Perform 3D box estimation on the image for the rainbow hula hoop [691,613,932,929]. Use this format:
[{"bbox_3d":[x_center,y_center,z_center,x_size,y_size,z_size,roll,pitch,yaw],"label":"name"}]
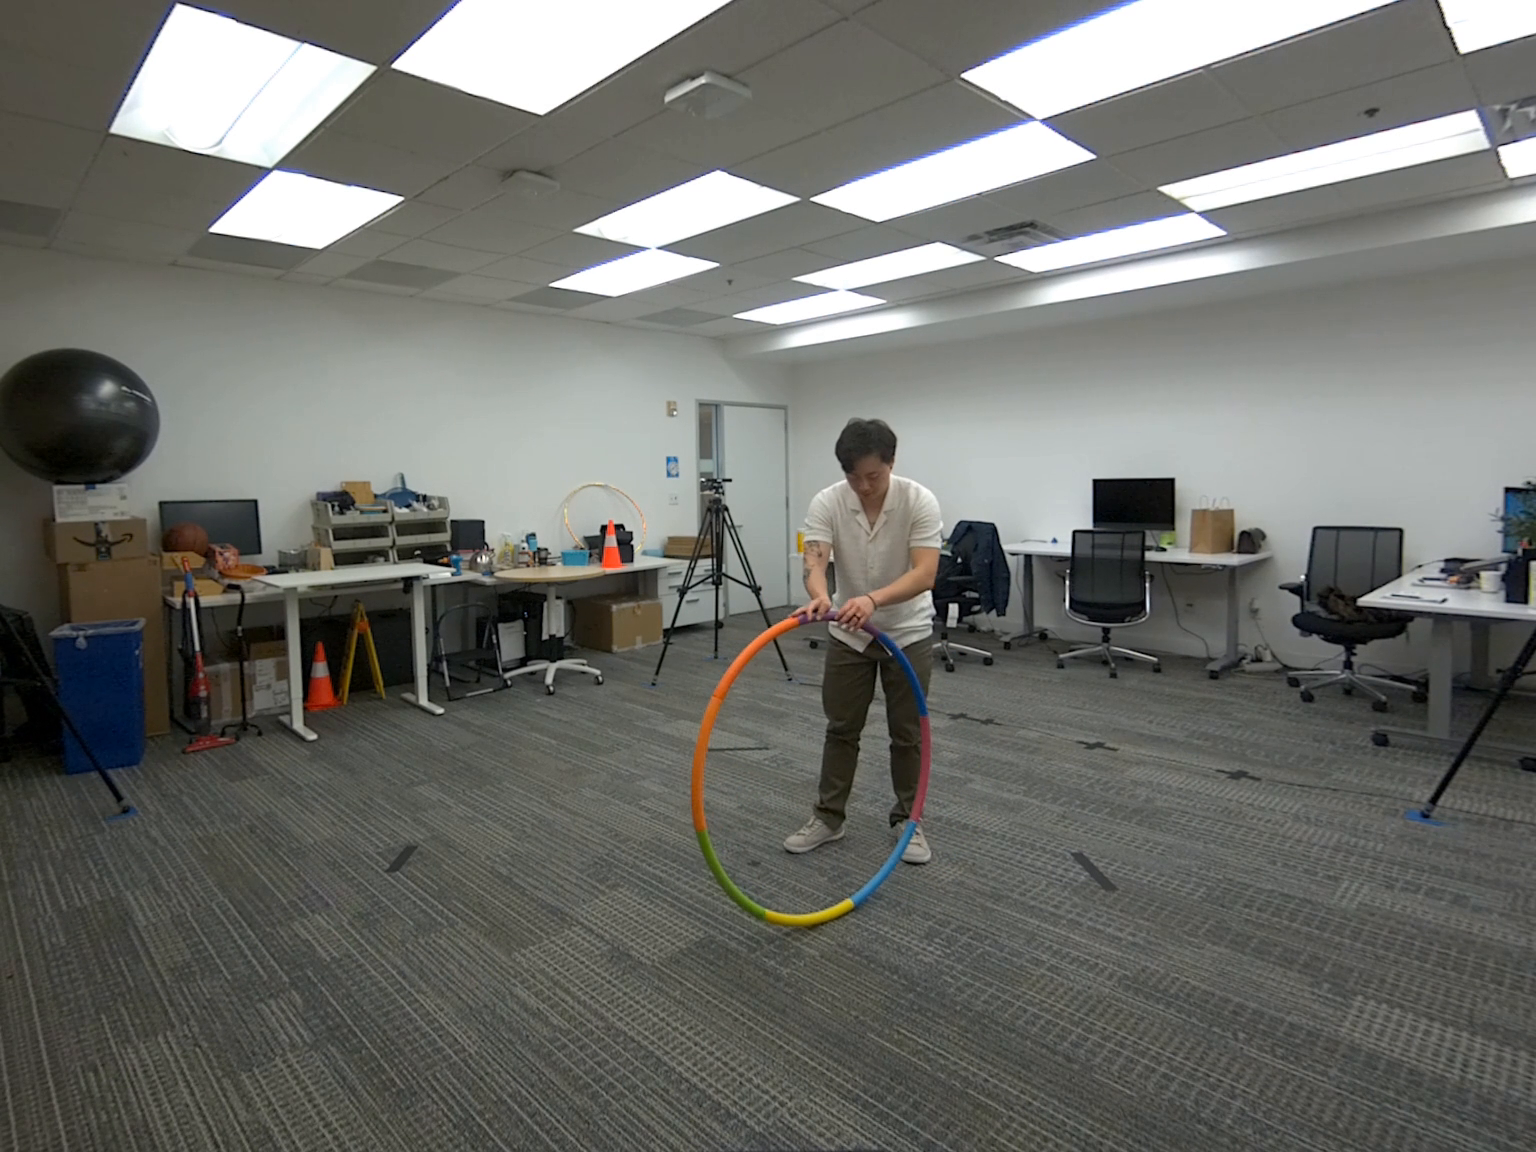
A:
[{"bbox_3d":[0.173,0.598,2.717,0.953,0.979,0.036,-5,0,-37],"label":"rainbow hula hoop"}]
